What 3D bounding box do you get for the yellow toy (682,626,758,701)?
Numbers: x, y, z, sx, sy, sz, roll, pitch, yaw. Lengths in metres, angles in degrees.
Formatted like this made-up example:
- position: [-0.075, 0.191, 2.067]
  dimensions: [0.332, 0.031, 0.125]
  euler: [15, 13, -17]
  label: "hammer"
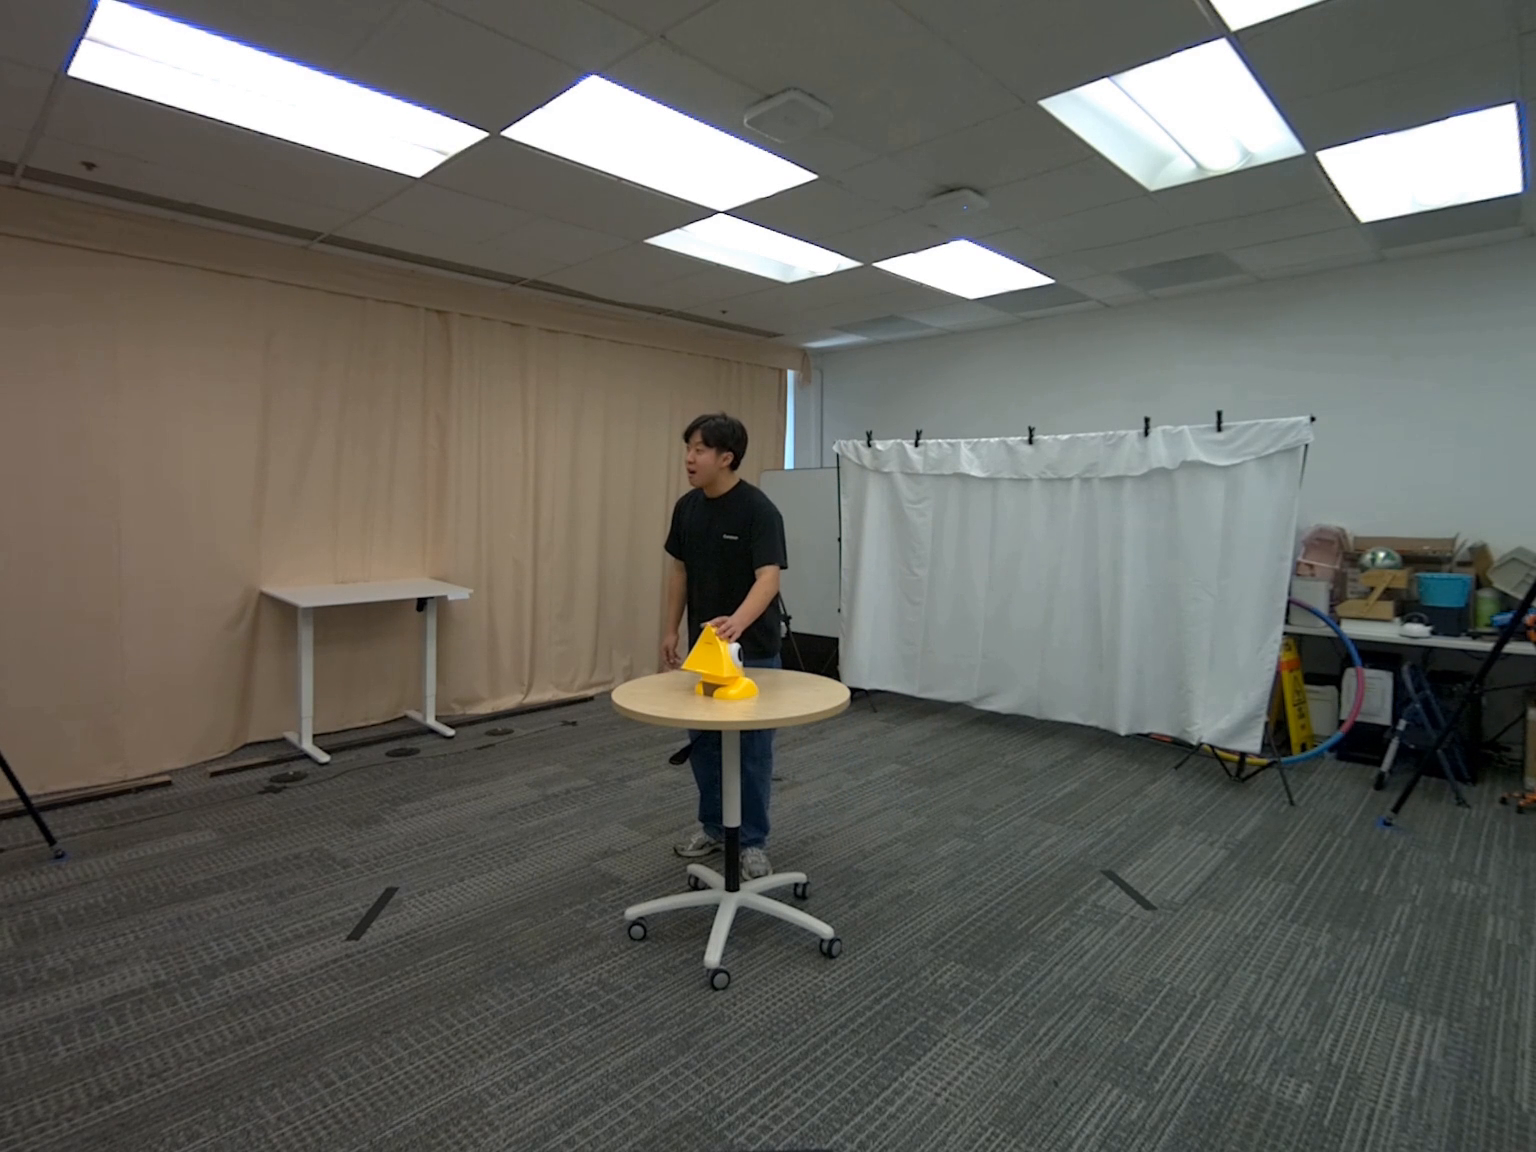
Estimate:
- position: [-0.145, 0.259, 2.684]
  dimensions: [0.211, 0.230, 0.187]
  euler: [3, 6, 45]
  label: "yellow toy"
